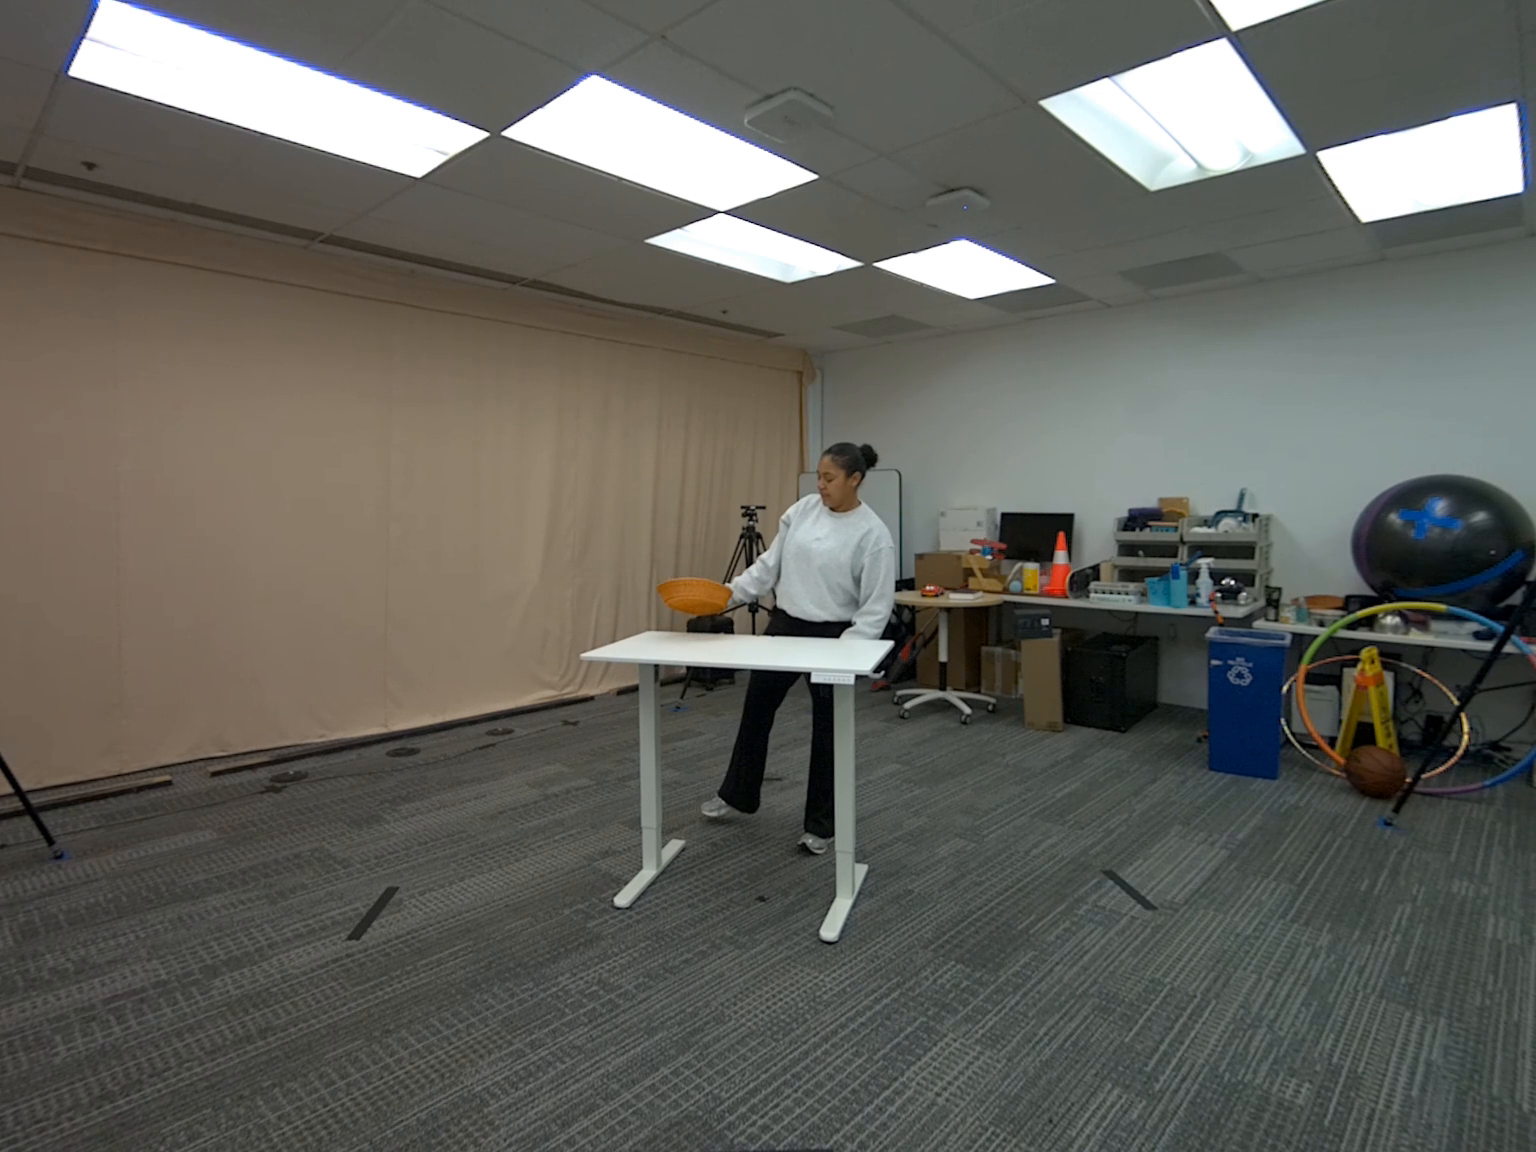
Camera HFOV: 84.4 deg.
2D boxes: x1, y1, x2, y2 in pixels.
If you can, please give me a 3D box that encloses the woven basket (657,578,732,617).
[{"bbox_3d":[-0.284,0.105,3.345,0.258,0.074,0.338,-14,-22,31],"label":"woven basket"}]
